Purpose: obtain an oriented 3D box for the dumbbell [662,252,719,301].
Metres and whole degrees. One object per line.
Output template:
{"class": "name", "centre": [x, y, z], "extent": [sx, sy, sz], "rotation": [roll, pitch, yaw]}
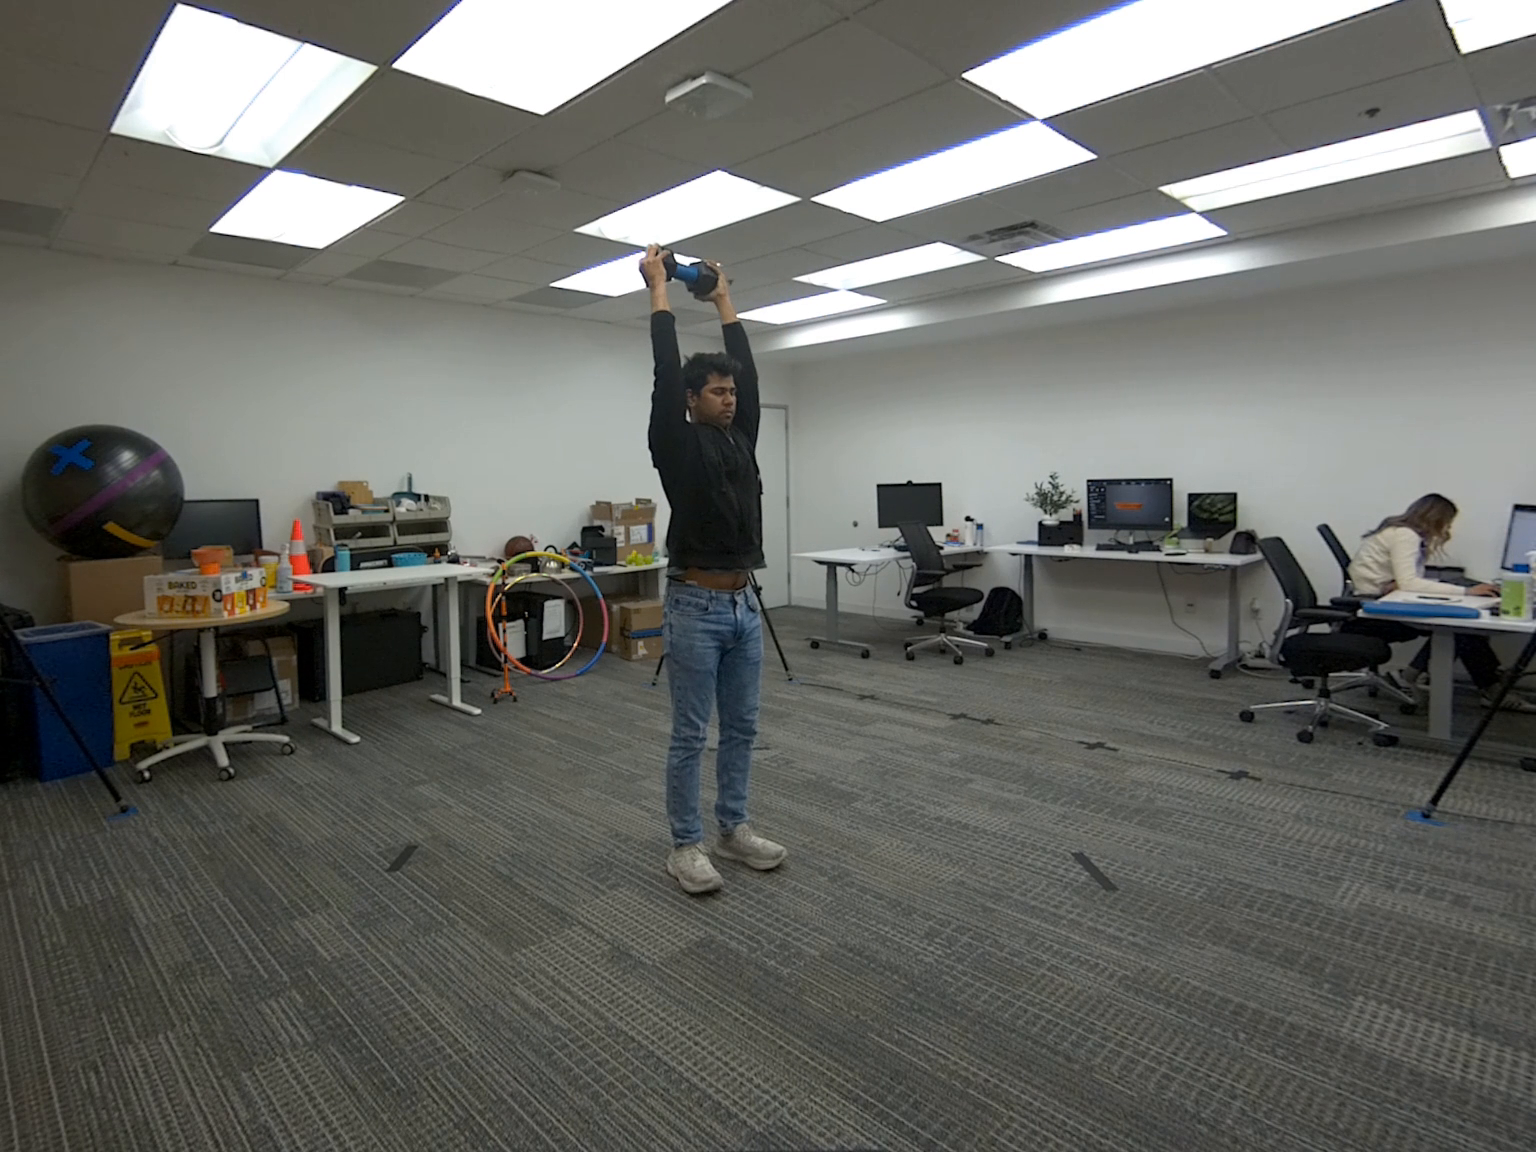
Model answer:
{"class": "dumbbell", "centre": [-0.302, -1.086, 3.037], "extent": [0.127, 0.108, 0.285], "rotation": [7, 6, 38]}
